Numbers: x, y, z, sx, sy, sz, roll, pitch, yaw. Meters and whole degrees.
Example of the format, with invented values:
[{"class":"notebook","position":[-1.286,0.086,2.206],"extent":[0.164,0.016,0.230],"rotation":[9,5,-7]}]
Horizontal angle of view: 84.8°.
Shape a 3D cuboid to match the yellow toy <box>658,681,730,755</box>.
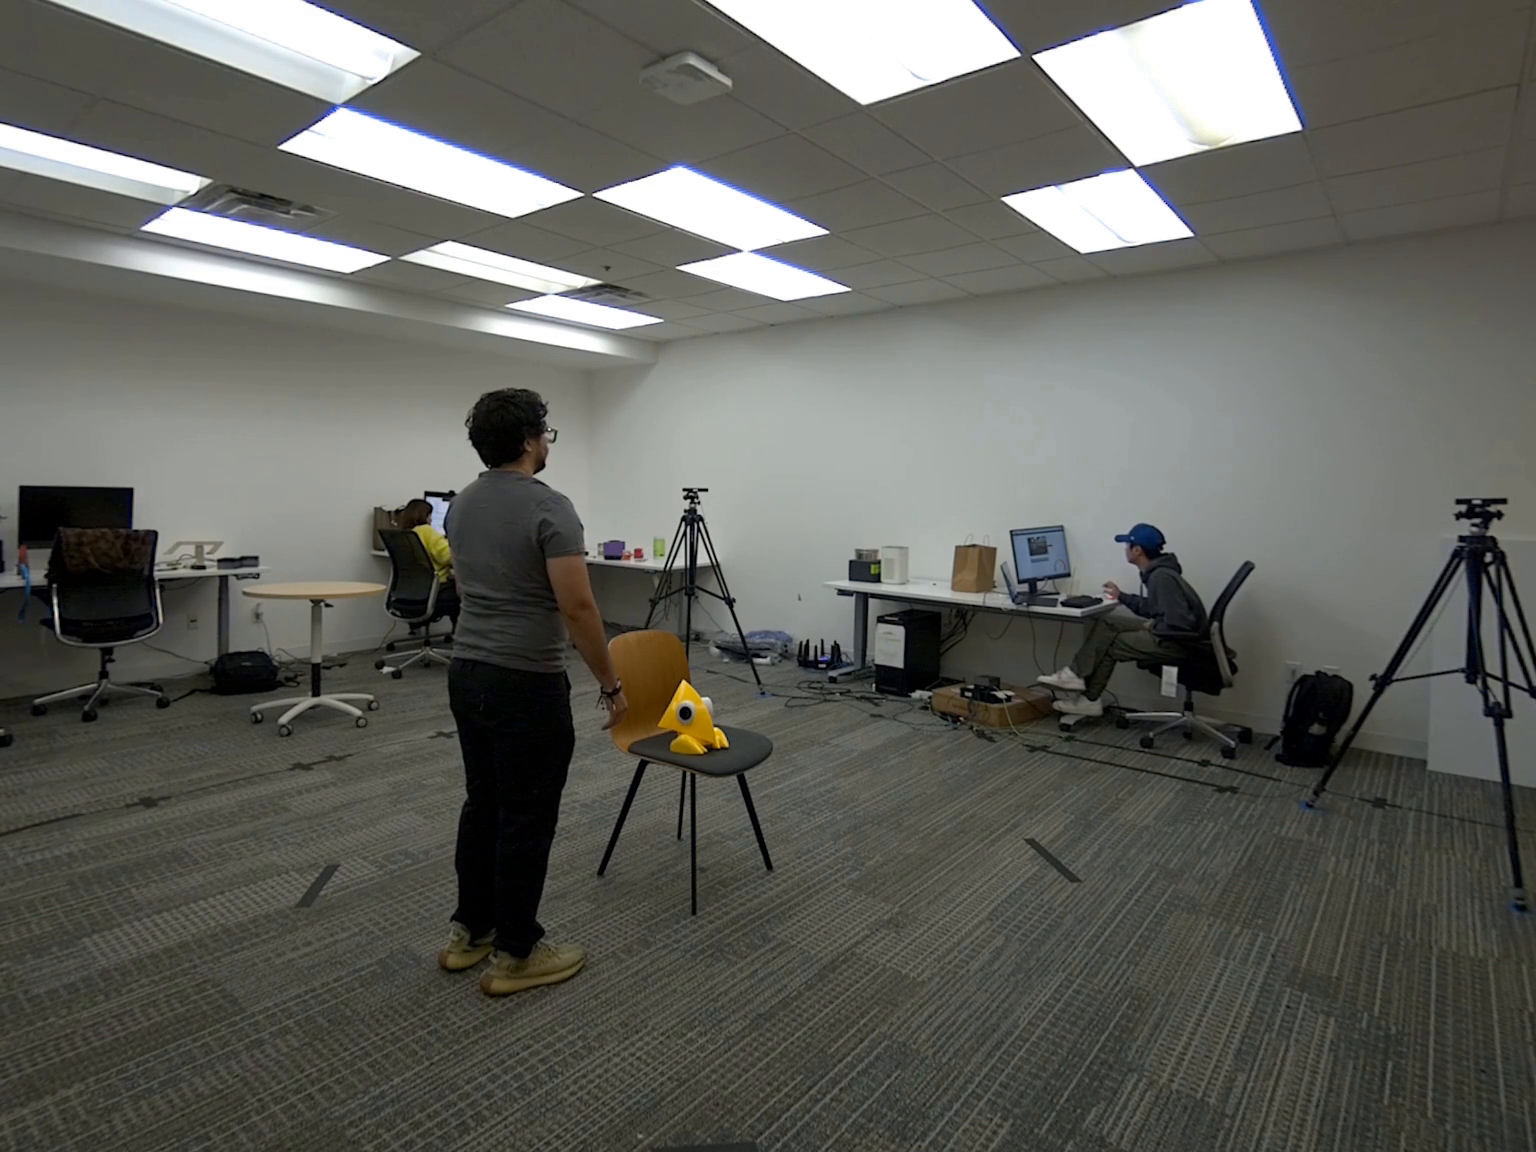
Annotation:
[{"class":"yellow toy","position":[-0.264,0.487,2.998],"extent":[0.199,0.231,0.198],"rotation":[-1,-1,42]}]
